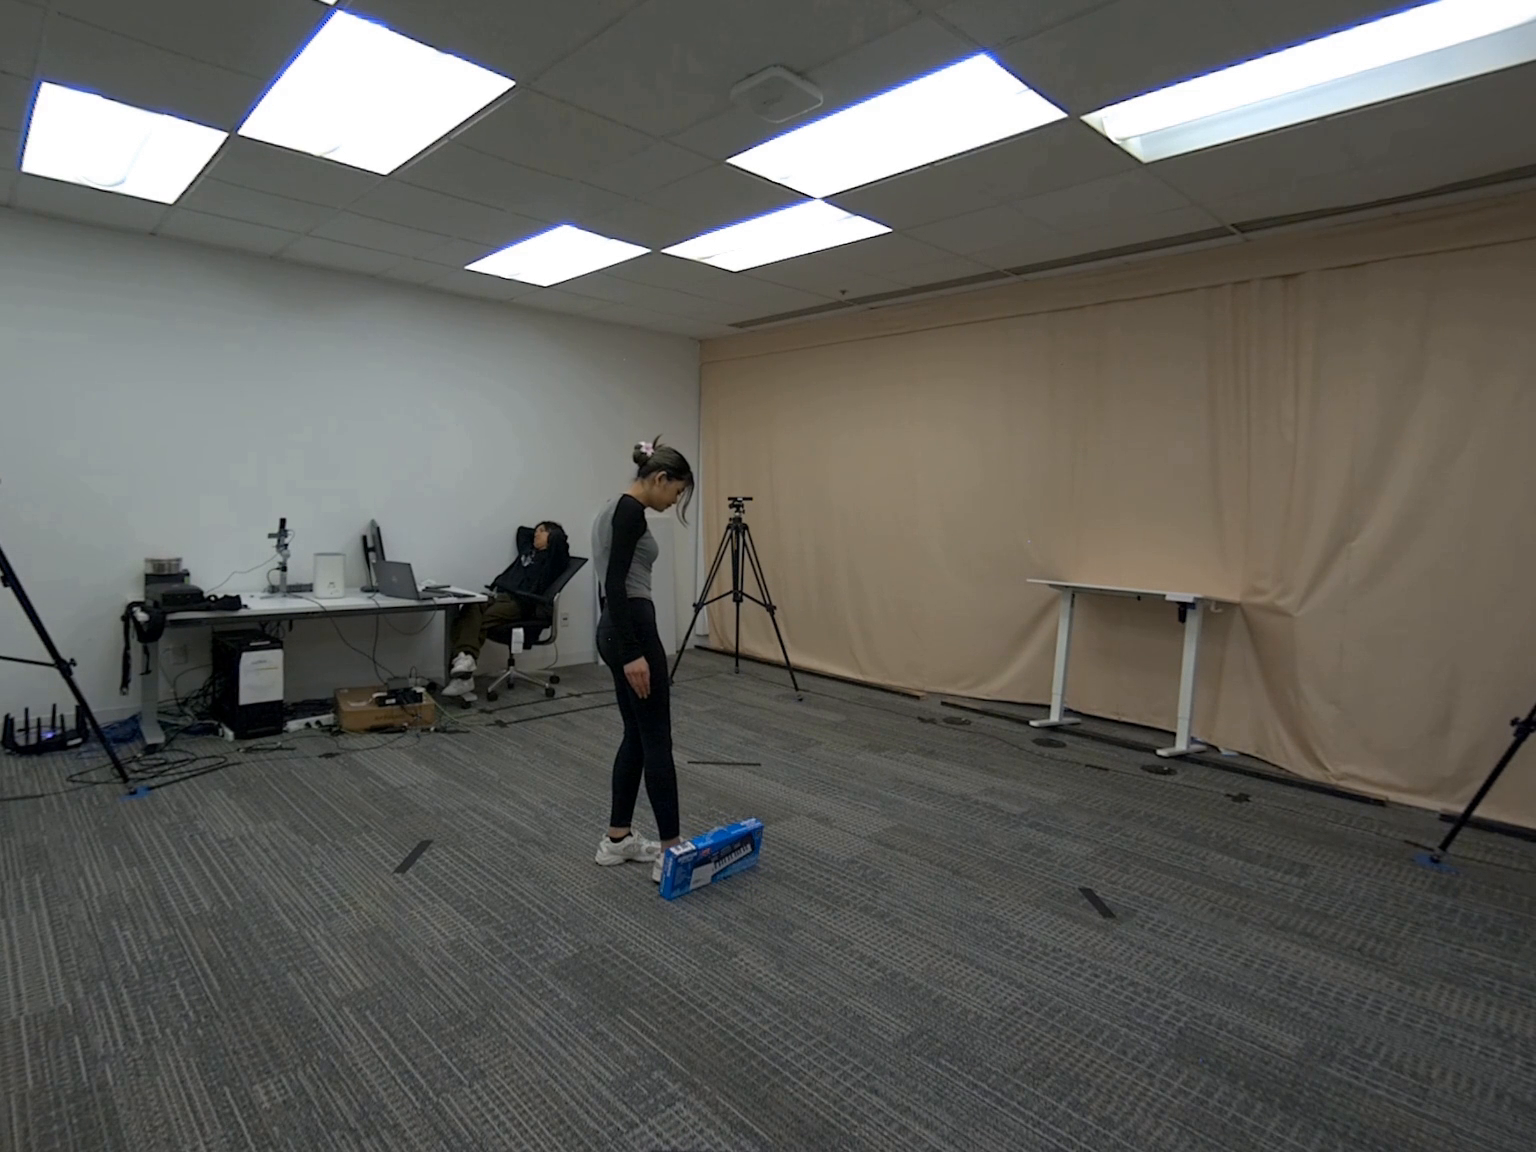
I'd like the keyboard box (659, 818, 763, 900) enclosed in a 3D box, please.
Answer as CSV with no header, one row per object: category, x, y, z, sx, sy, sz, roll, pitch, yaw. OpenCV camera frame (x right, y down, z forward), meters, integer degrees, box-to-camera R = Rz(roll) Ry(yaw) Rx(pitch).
keyboard box,-0.207,1.022,3.057,0.061,0.175,0.427,18,16,42
